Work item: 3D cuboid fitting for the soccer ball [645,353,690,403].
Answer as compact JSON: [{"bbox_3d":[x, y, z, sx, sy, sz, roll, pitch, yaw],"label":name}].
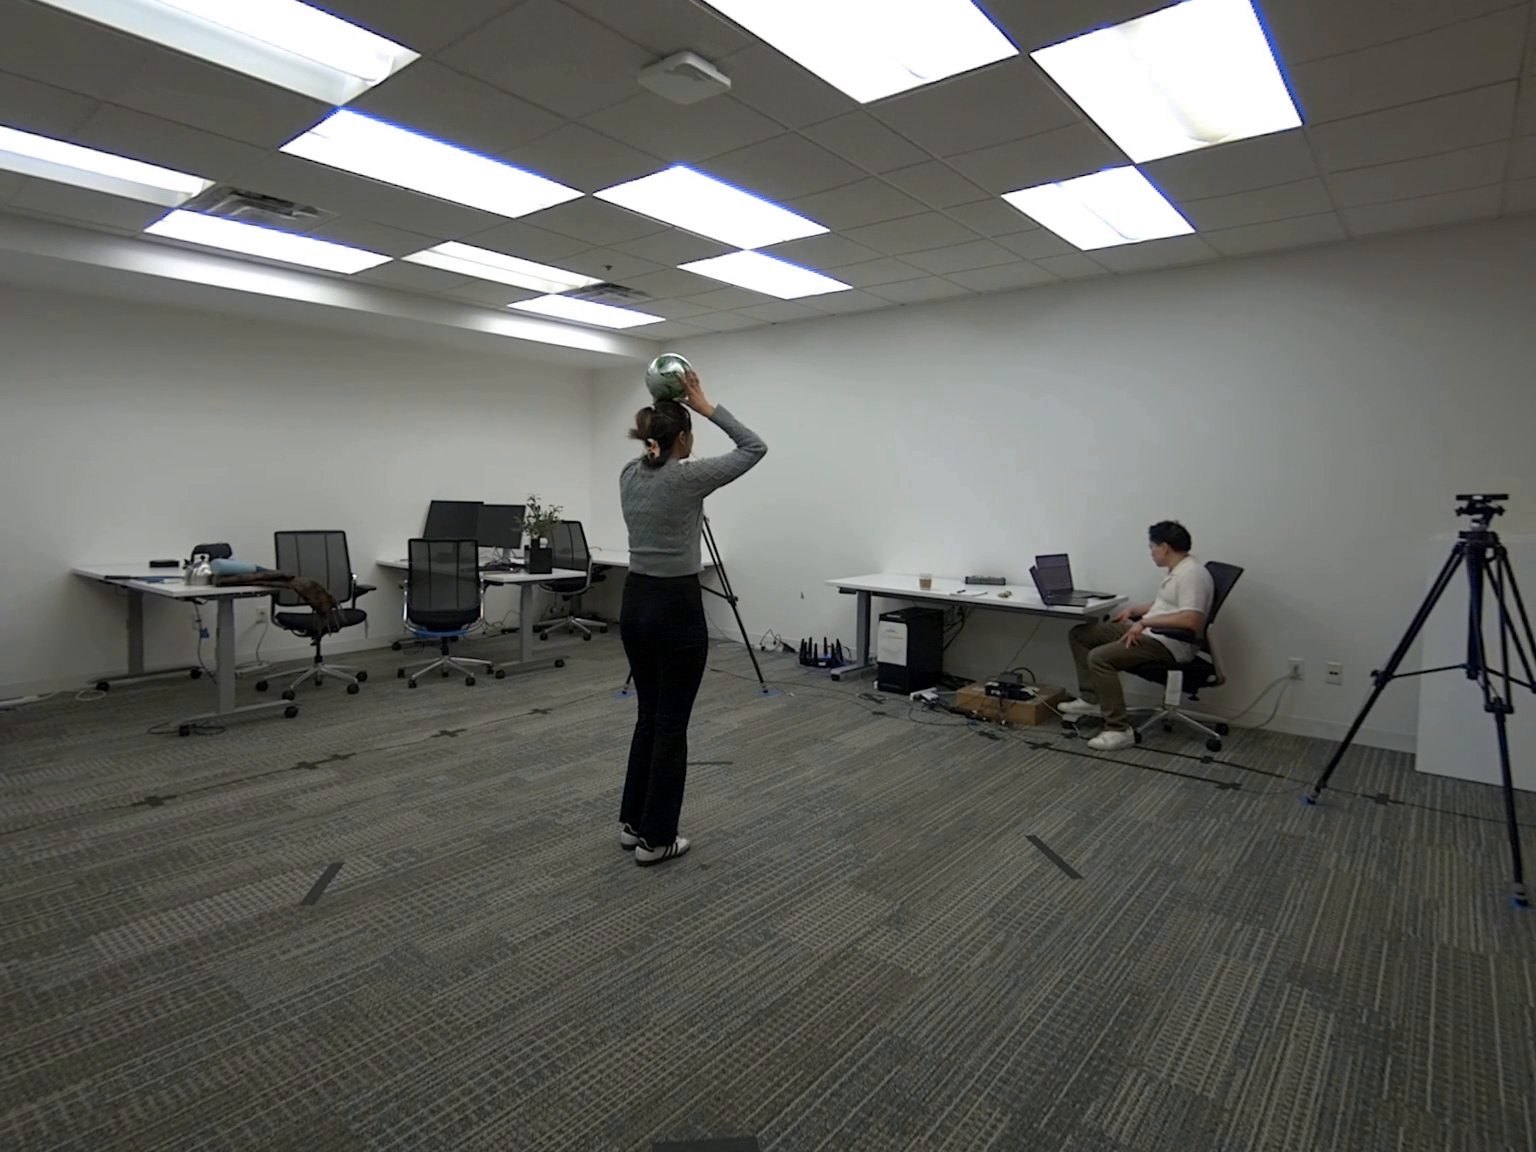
[{"bbox_3d":[-0.390,-0.754,3.233,0.187,0.187,0.188,1,4,-2],"label":"soccer ball"}]
